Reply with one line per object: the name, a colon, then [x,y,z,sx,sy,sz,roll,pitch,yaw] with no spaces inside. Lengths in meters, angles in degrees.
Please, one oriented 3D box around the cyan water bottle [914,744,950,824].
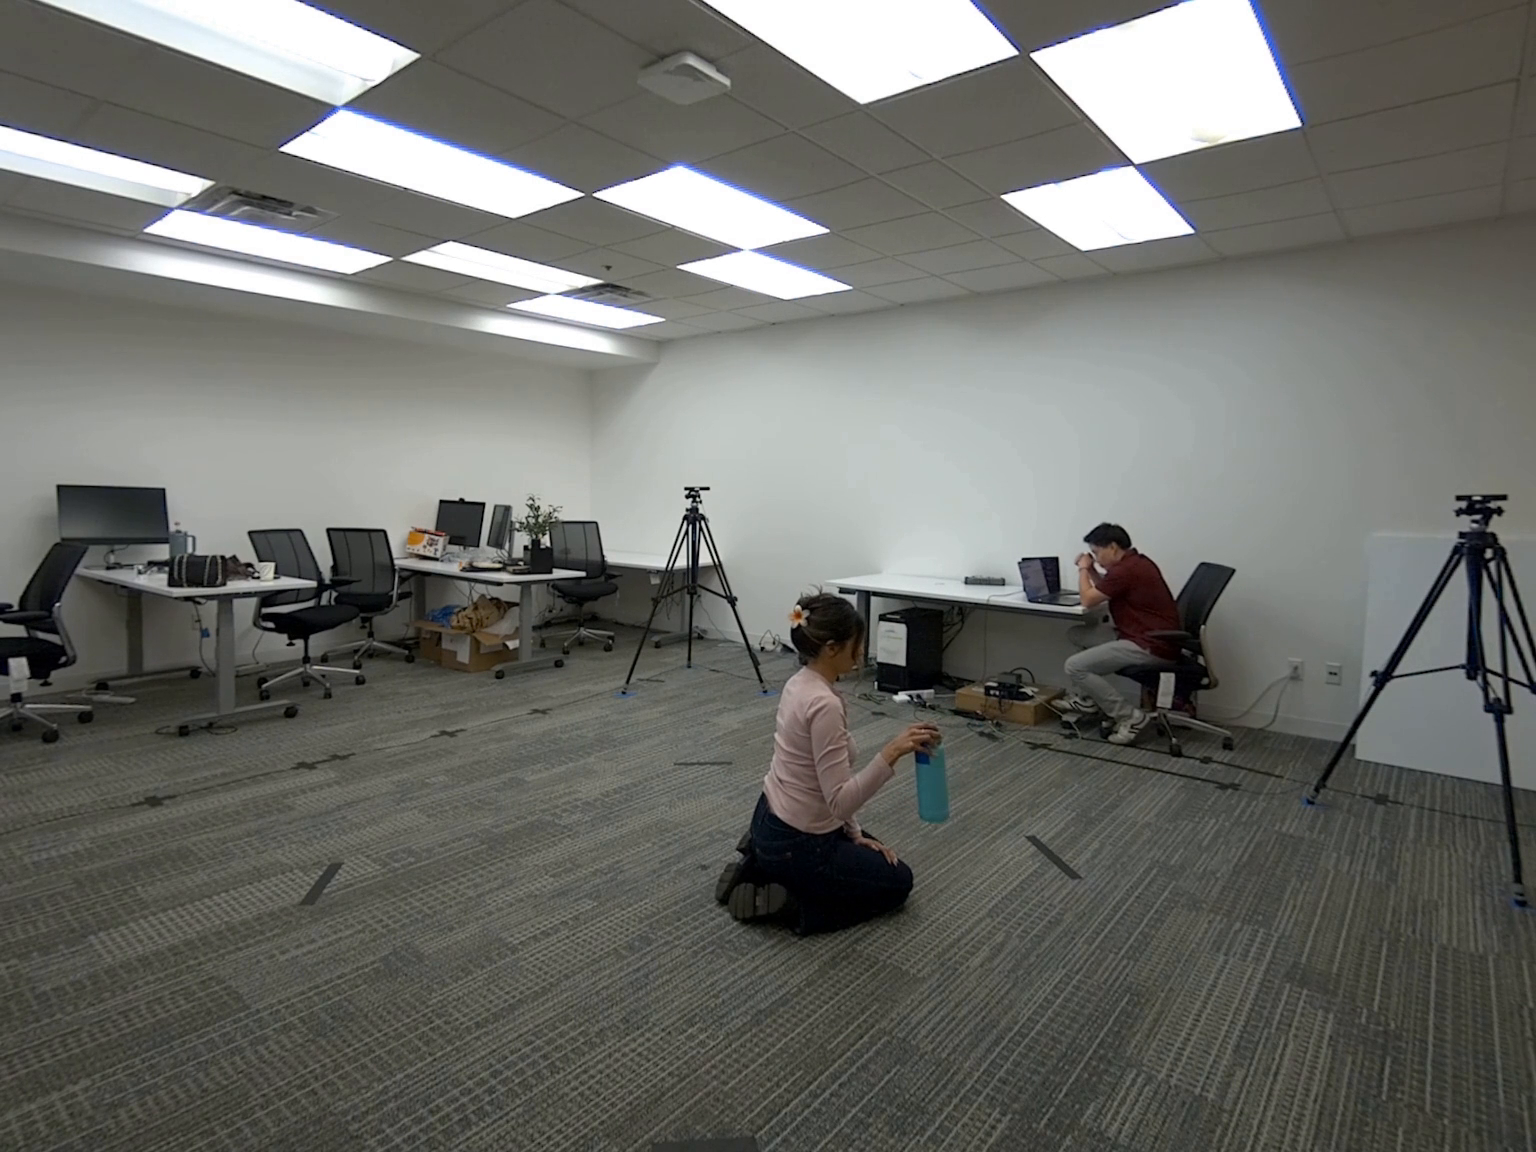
cyan water bottle: [0.481,0.581,2.517,0.092,0.283,0.092,-4,2,-2]
